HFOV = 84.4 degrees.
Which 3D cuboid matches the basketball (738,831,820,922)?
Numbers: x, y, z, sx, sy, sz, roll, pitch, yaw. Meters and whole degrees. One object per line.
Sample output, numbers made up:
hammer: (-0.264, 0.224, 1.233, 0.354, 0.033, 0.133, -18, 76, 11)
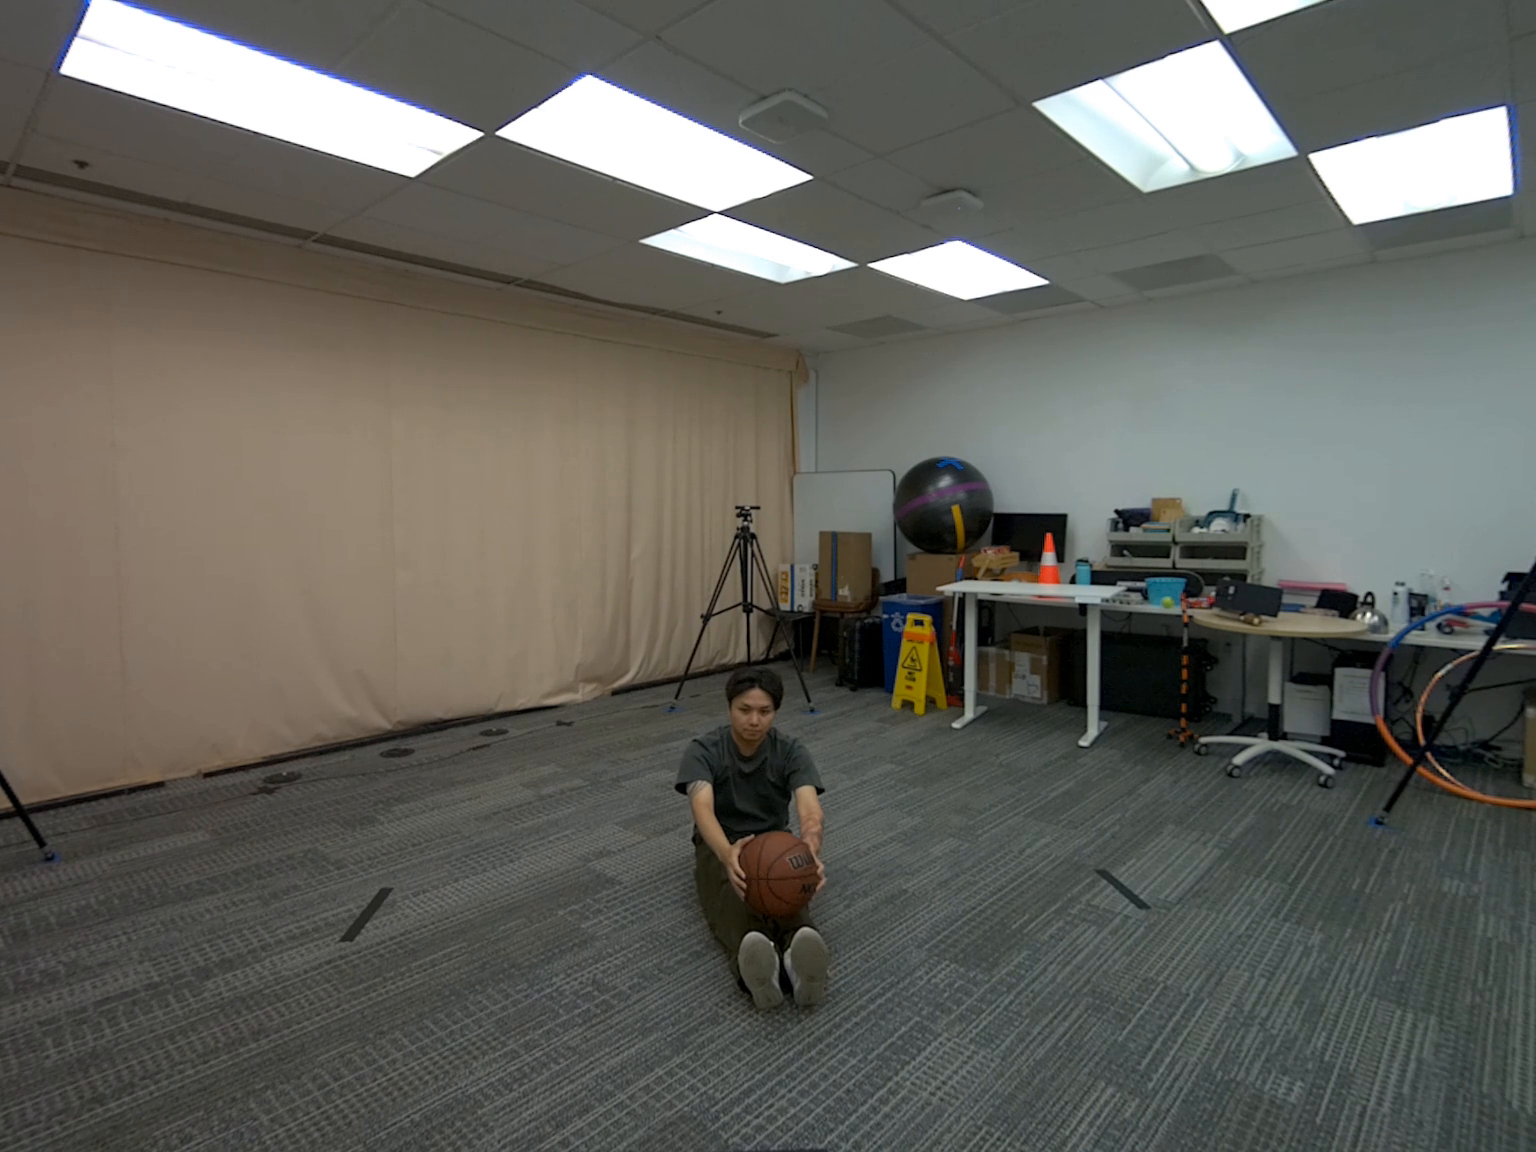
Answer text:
basketball: (0.040, 0.881, 2.490, 0.236, 0.235, 0.237, 0, 4, -2)
